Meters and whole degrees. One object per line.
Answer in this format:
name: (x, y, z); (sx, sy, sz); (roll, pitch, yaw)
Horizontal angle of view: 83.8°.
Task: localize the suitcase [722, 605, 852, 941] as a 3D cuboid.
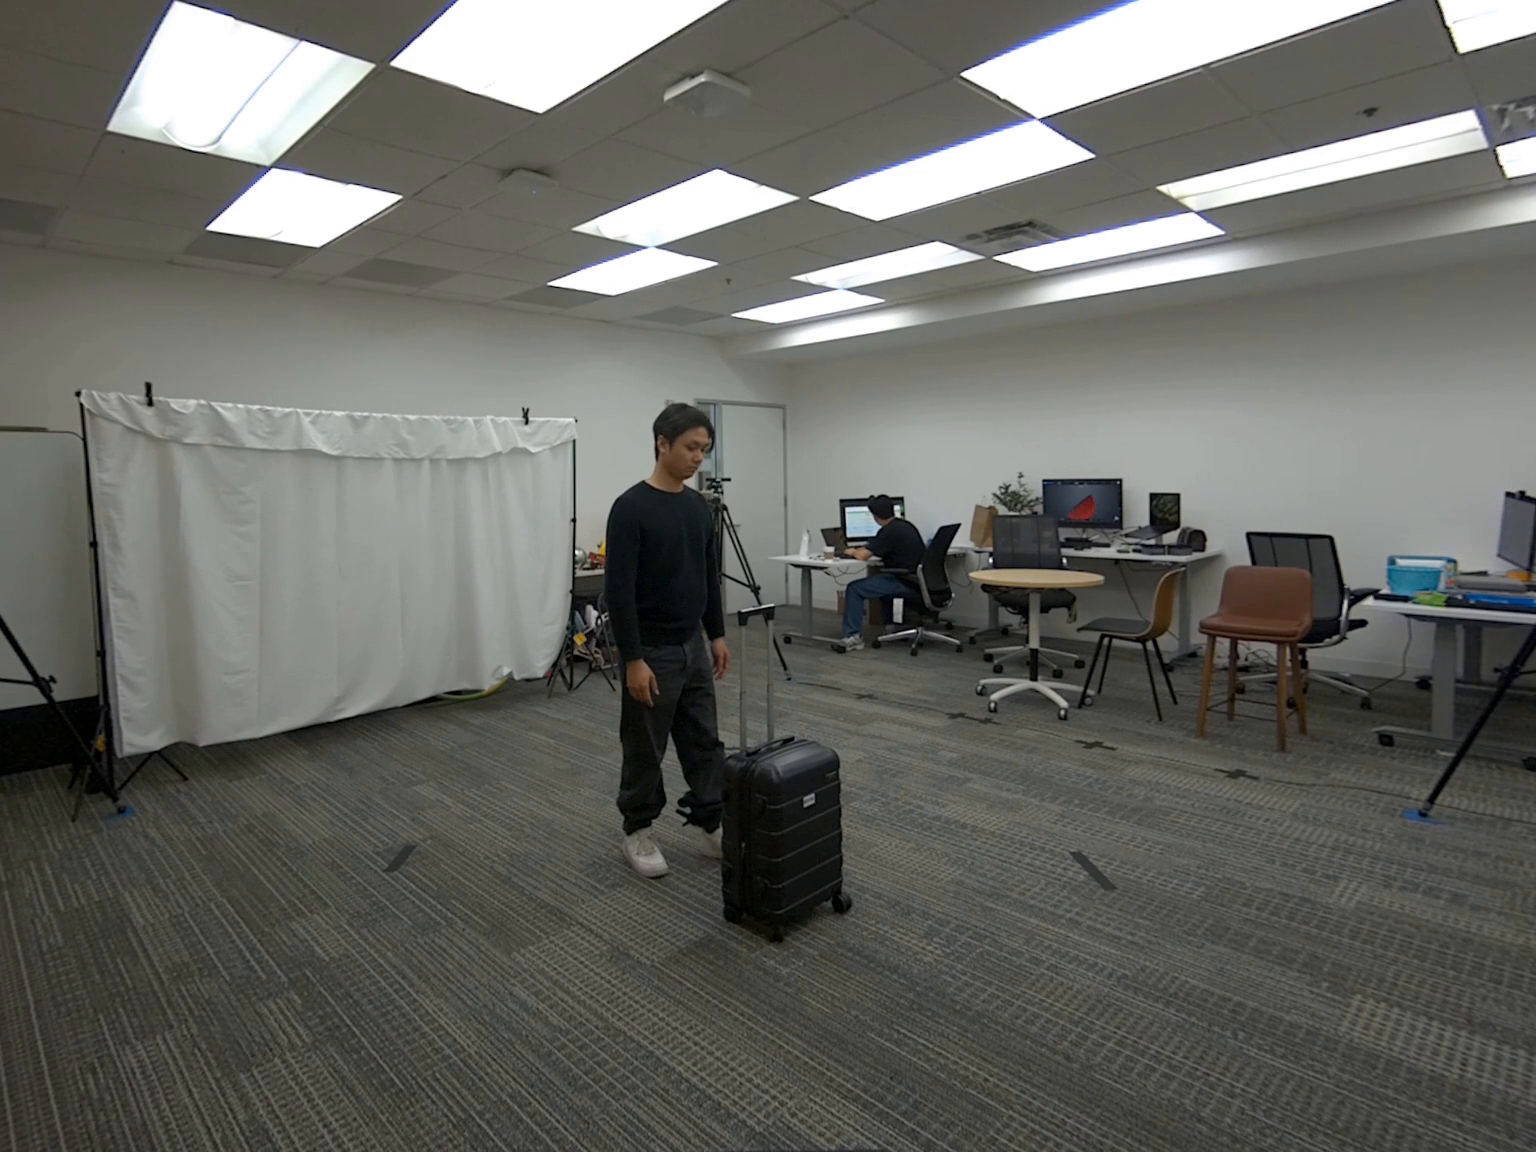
suitcase: (0.057, 0.609, 2.698); (0.265, 0.973, 0.374); (6, 8, 44)
